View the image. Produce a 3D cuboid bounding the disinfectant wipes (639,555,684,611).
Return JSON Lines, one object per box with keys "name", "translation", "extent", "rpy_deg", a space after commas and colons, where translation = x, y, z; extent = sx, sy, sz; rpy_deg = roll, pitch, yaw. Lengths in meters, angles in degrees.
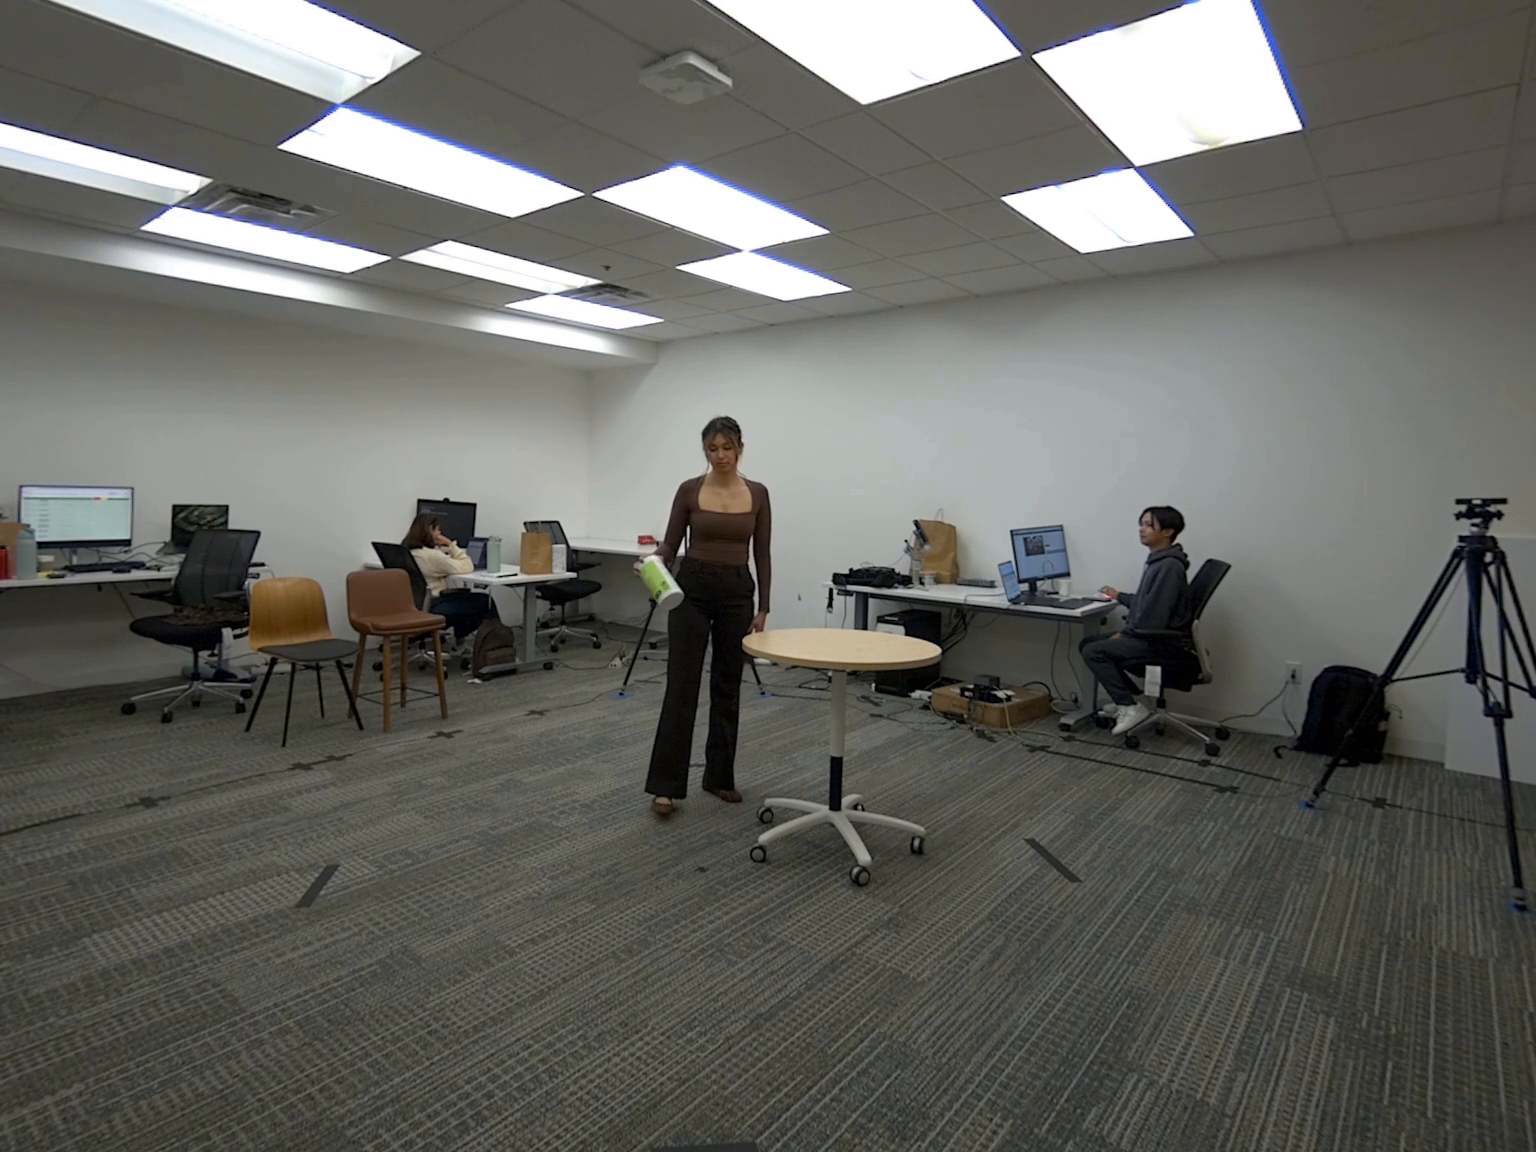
{"name": "disinfectant wipes", "translation": [-0.447, 0.017, 3.459], "extent": [0.114, 0.117, 0.225], "rpy_deg": [-3, 46, -45]}
